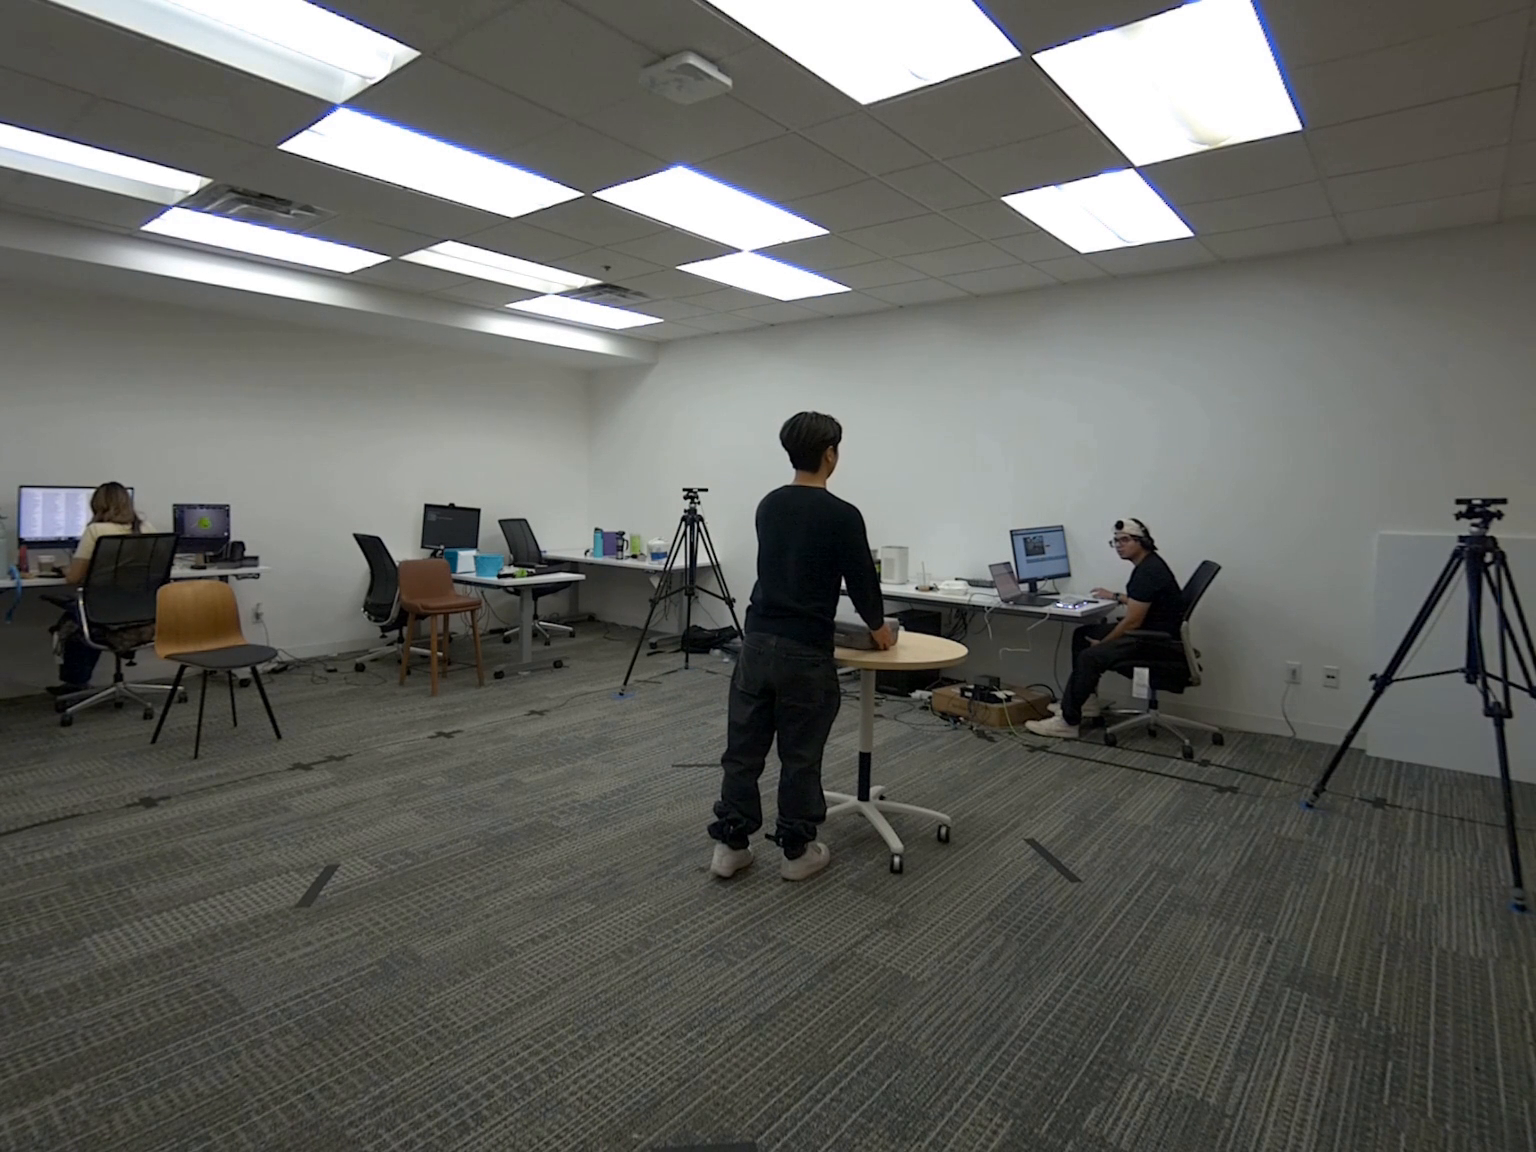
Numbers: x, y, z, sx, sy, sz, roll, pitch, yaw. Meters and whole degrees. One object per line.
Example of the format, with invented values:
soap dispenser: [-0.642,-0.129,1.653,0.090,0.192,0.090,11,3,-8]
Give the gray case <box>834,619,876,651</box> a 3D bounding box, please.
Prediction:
gray case: [0.361,0.217,3.419,0.266,0.104,0.253,9,8,42]
